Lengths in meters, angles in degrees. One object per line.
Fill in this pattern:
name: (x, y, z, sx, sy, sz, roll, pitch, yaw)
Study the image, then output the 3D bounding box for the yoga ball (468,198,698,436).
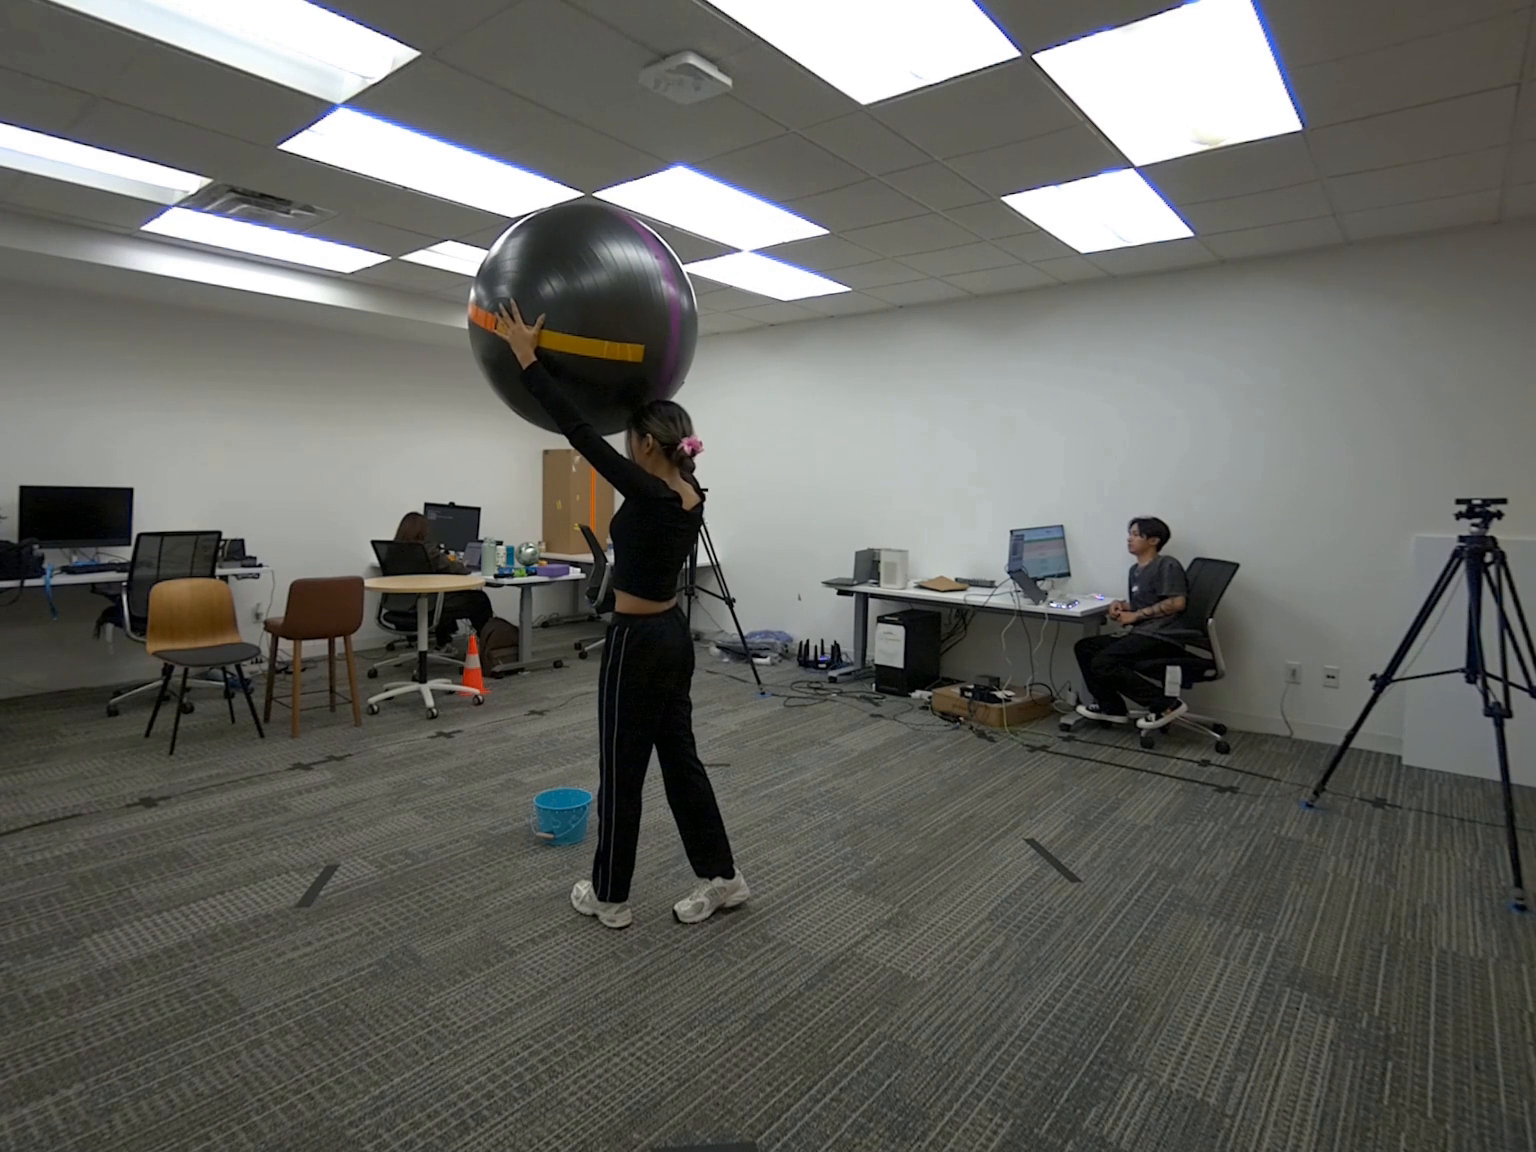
yoga ball: (-0.621, -0.842, 2.851, 0.757, 0.755, 0.762, 1, 4, -2)
